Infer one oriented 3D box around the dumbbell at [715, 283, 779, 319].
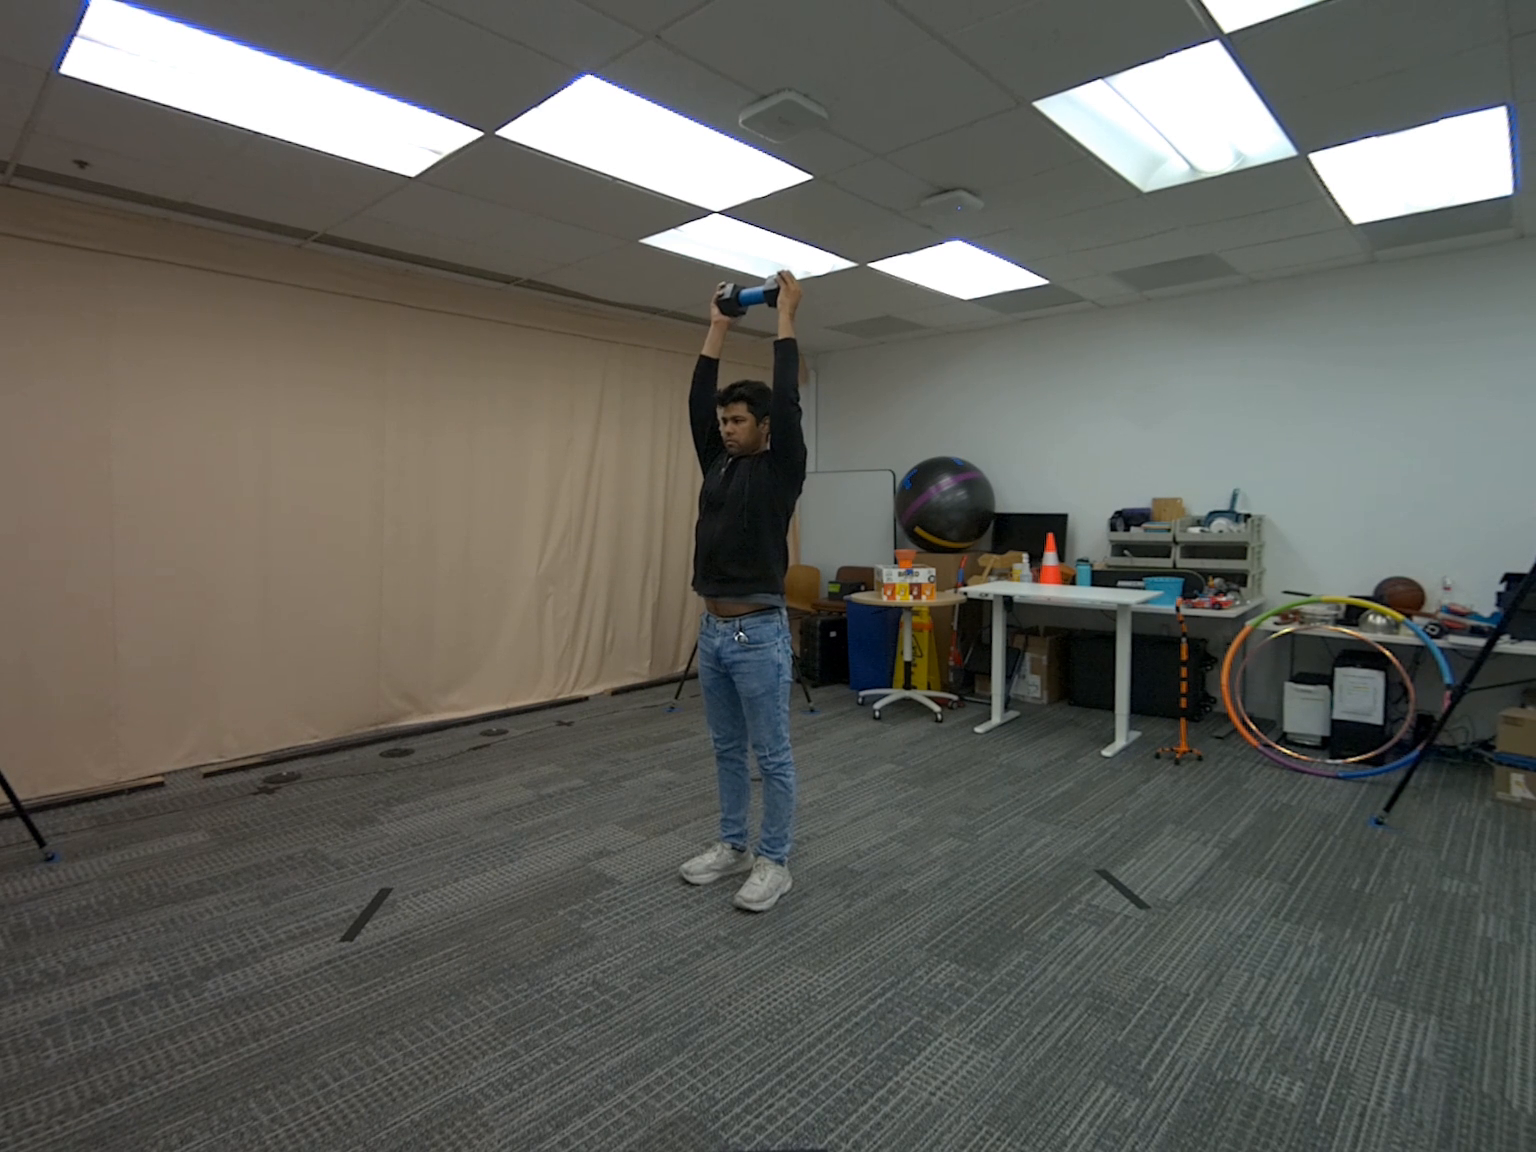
[{"bbox_3d":[-0.037,-1.002,3.015,0.303,0.108,0.119,5,11,41],"label":"dumbbell"}]
